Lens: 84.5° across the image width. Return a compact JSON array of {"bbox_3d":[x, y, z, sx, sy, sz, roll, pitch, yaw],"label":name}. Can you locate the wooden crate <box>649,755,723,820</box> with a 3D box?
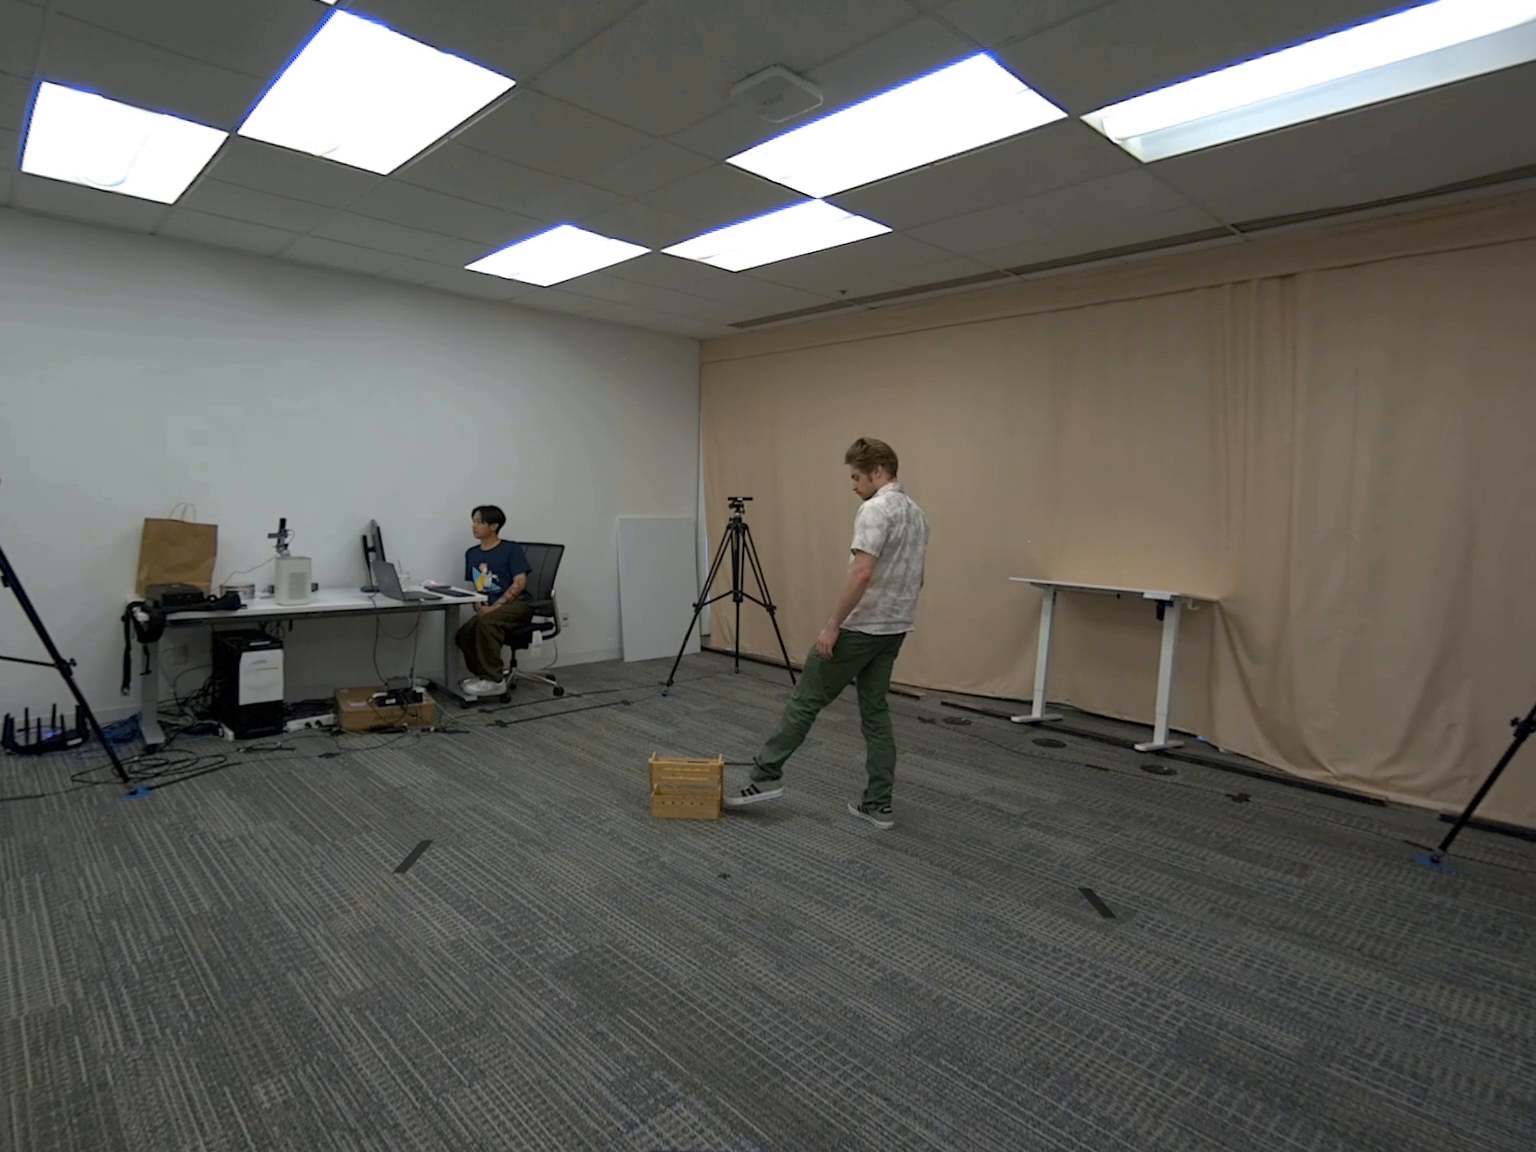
[{"bbox_3d":[-0.371,0.914,3.759,0.324,0.272,0.303,1,4,-1],"label":"wooden crate"}]
